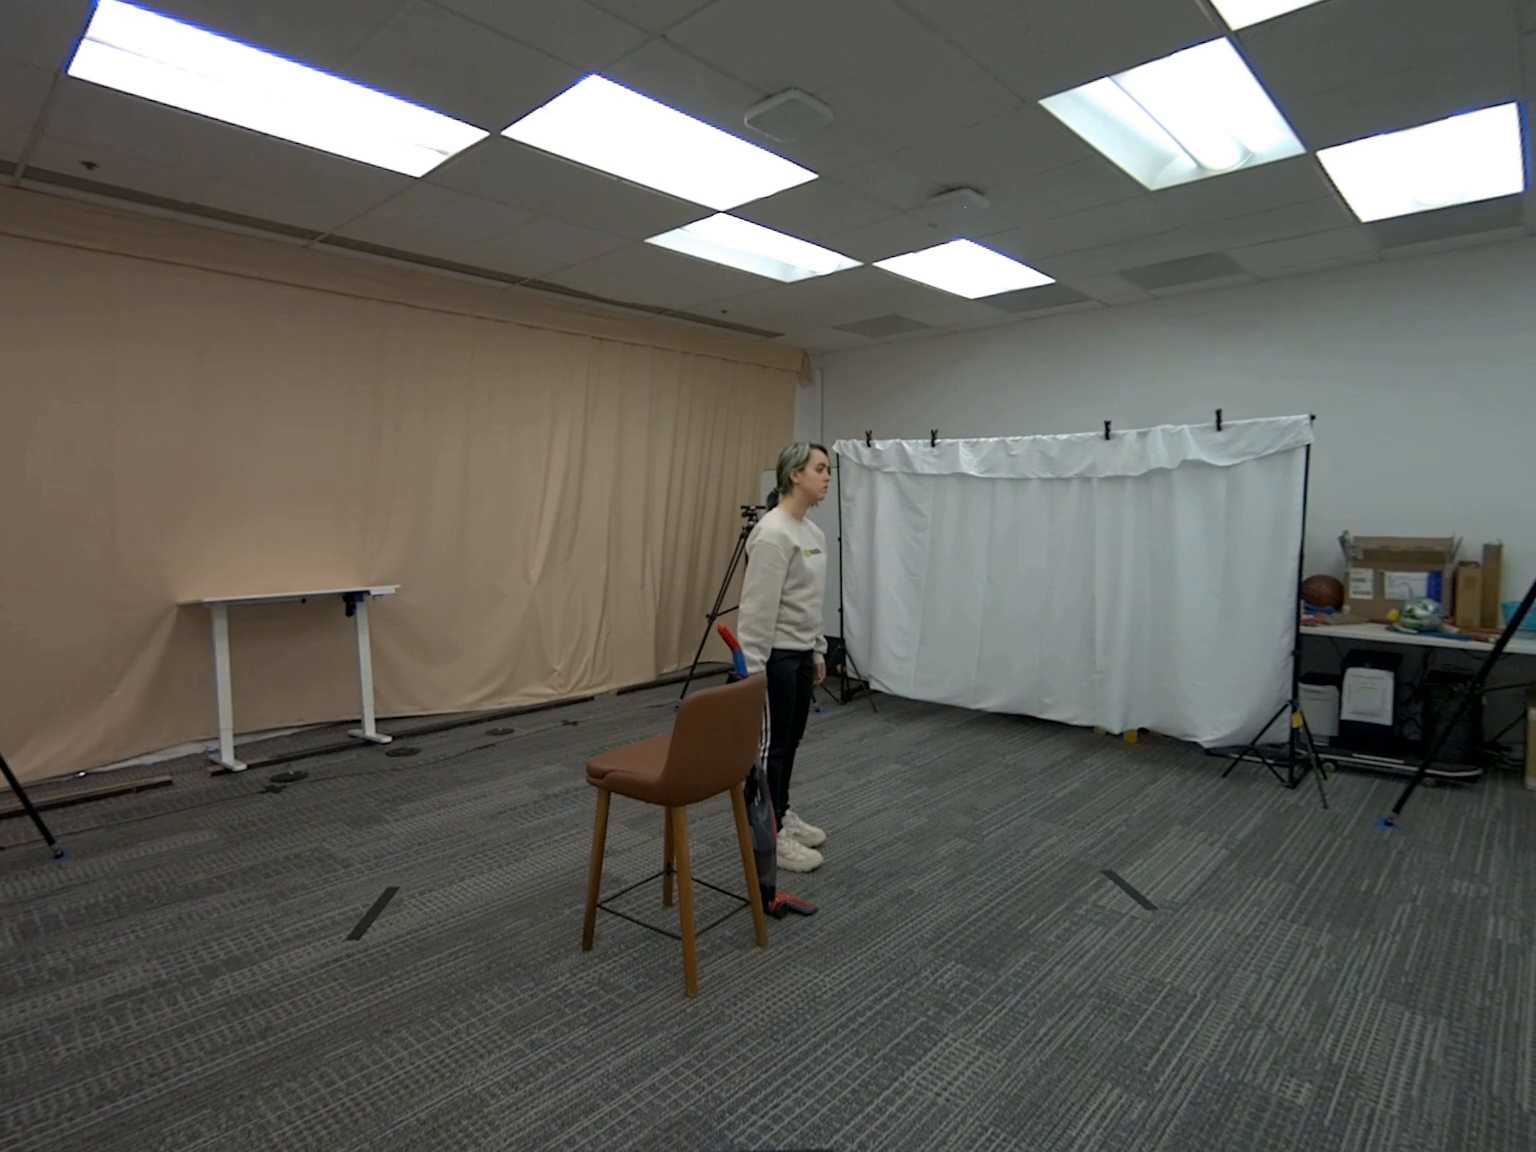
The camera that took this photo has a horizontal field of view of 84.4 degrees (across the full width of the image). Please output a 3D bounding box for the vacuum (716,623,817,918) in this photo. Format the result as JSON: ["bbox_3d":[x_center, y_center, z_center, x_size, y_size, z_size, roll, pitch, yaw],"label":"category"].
[{"bbox_3d":[-0.061,0.653,2.800,0.141,1.037,0.261,-22,18,-39],"label":"vacuum"}]
